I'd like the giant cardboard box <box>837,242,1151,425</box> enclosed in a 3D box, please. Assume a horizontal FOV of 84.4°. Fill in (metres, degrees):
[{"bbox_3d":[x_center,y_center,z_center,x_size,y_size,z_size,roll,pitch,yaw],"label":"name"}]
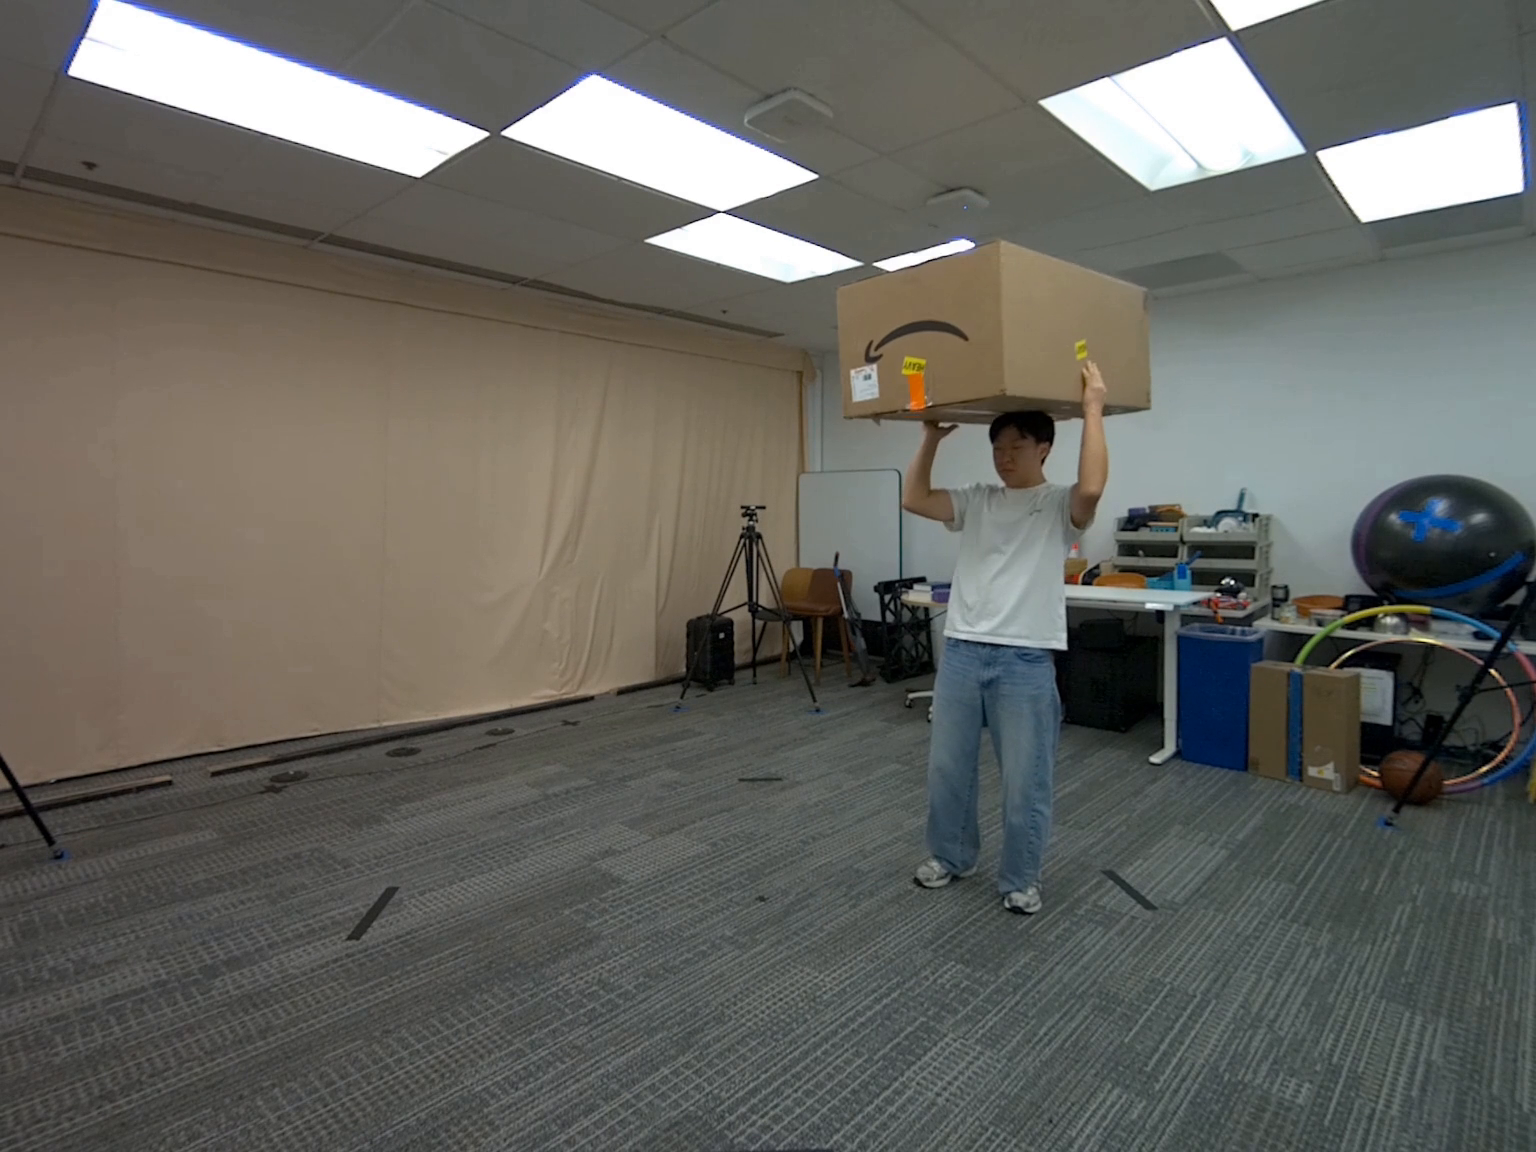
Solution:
[{"bbox_3d":[0.794,-0.758,2.836,0.995,0.425,0.596,-7,6,-44],"label":"giant cardboard box"}]
